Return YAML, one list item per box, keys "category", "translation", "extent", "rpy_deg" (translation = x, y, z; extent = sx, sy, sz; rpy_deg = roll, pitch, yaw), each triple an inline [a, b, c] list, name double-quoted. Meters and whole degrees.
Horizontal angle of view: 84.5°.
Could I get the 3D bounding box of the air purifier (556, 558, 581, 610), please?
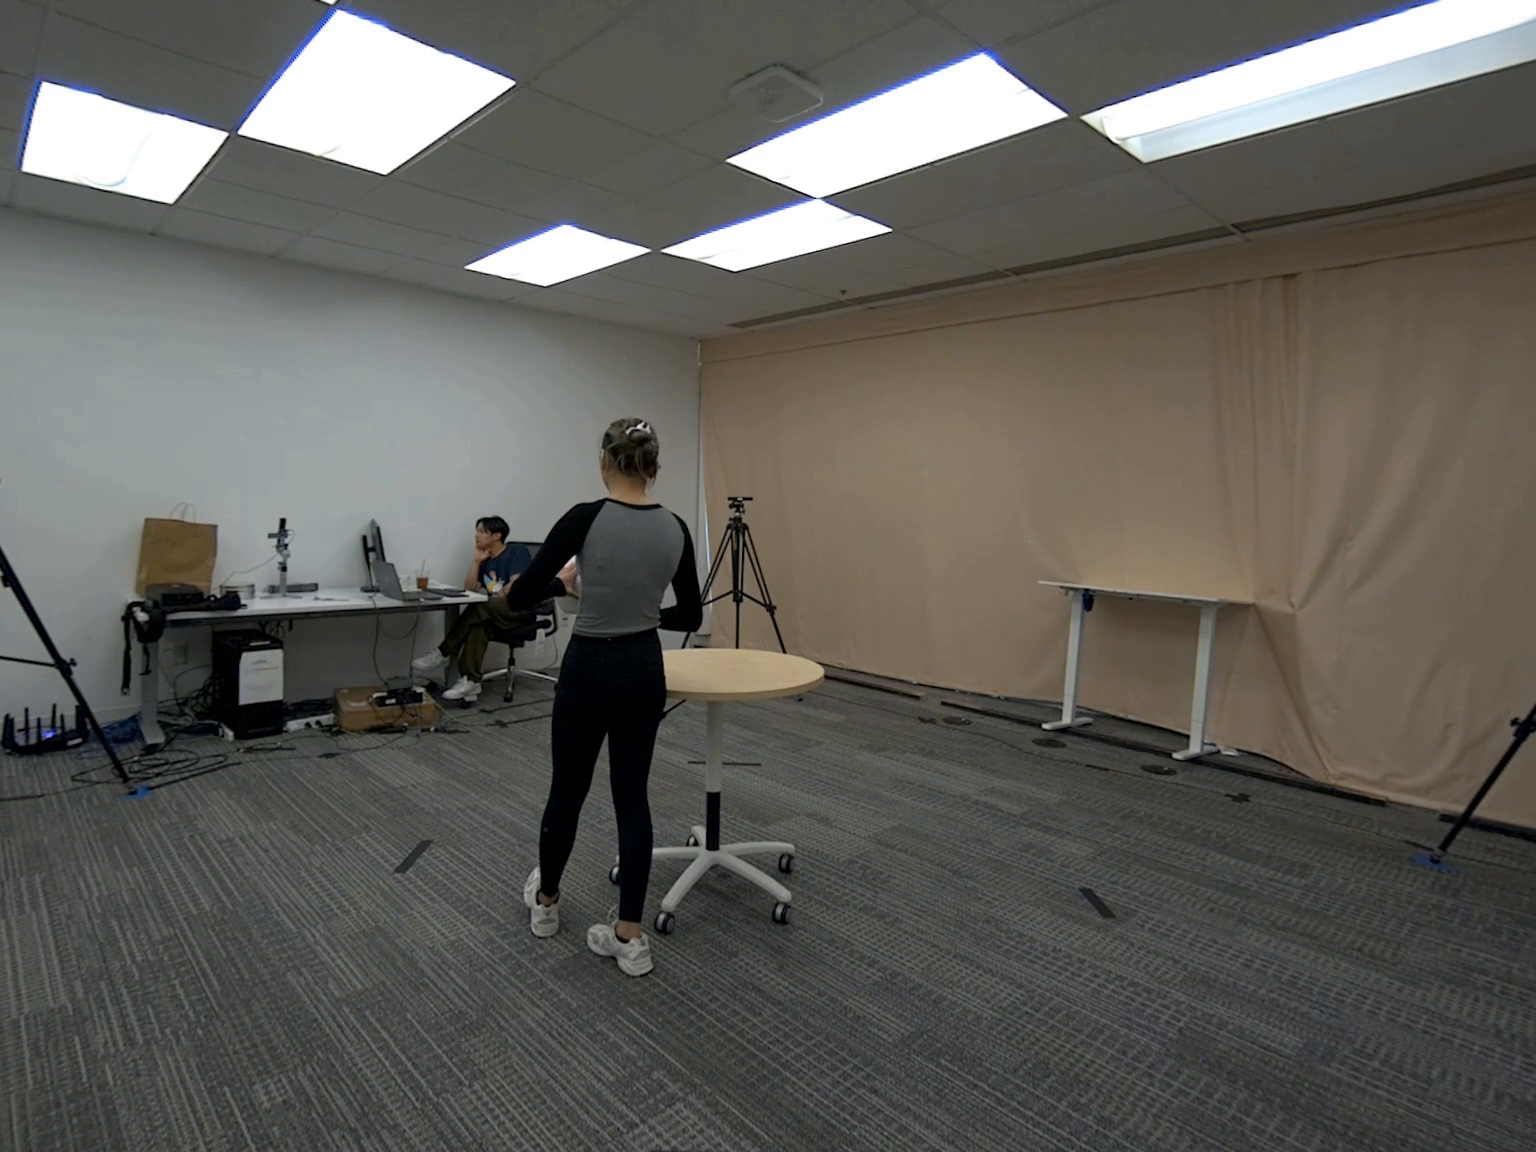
- category: "air purifier"
  translation: [-0.554, 0.034, 2.738]
  extent: [0.271, 0.168, 0.171]
  rpy_deg: [0, 28, 36]
